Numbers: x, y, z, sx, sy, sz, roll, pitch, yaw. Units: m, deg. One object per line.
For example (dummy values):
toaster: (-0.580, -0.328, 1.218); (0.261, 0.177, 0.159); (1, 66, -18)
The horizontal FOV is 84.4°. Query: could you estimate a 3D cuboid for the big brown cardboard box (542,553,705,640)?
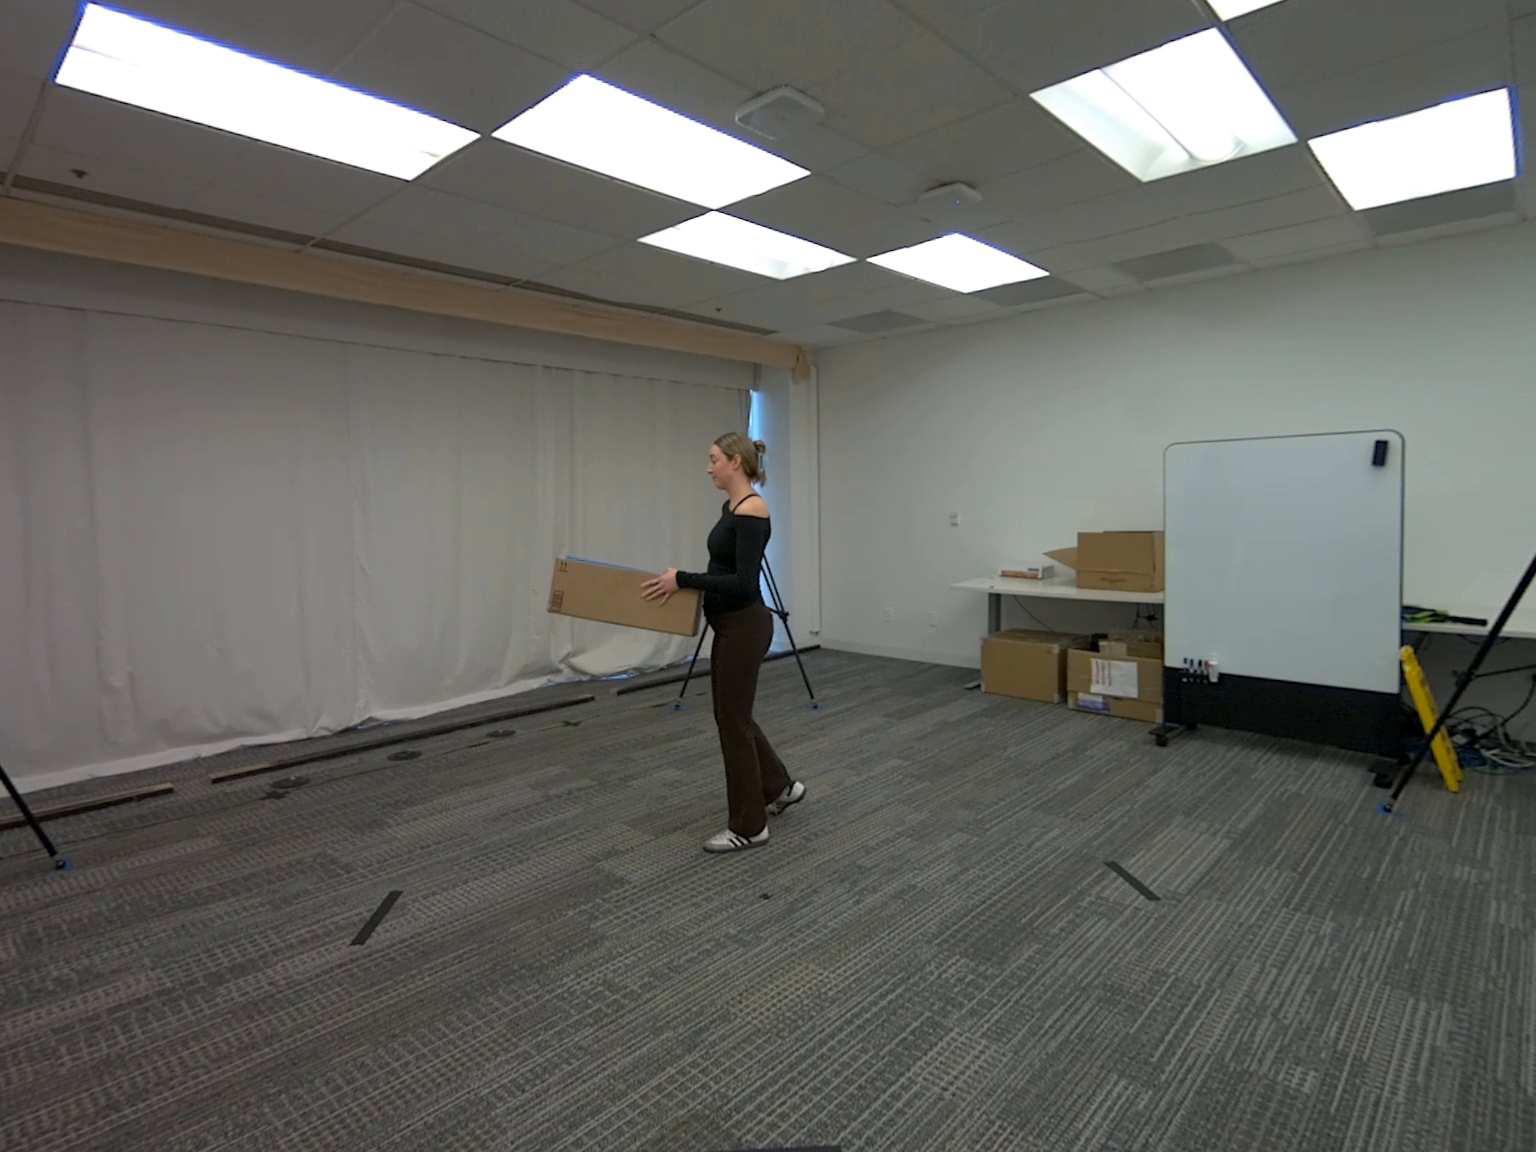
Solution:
big brown cardboard box: (-0.558, 0.087, 3.434); (0.591, 0.233, 0.415); (10, -4, 2)
